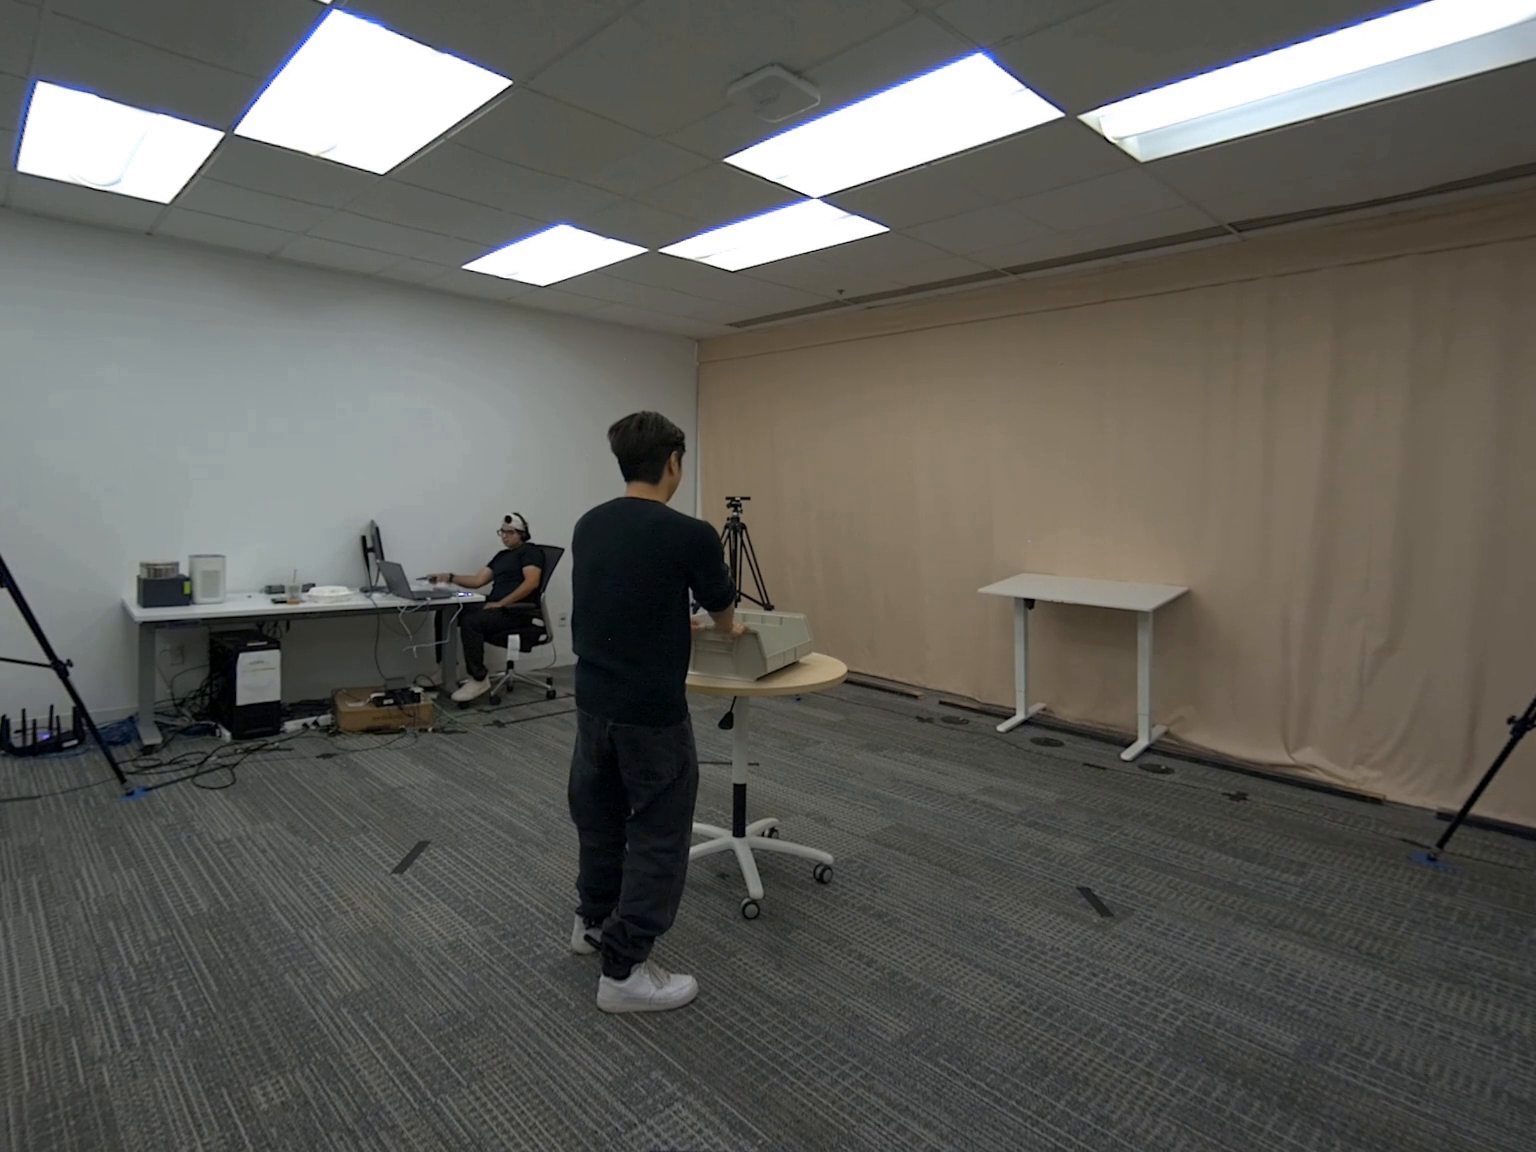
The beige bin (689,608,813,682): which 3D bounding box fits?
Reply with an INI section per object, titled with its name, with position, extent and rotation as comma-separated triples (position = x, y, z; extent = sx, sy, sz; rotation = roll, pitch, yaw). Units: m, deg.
[beige bin]
position = -0.087, 0.240, 3.025
extent = 0.384, 0.188, 0.415
rotation = 1, 5, 26
